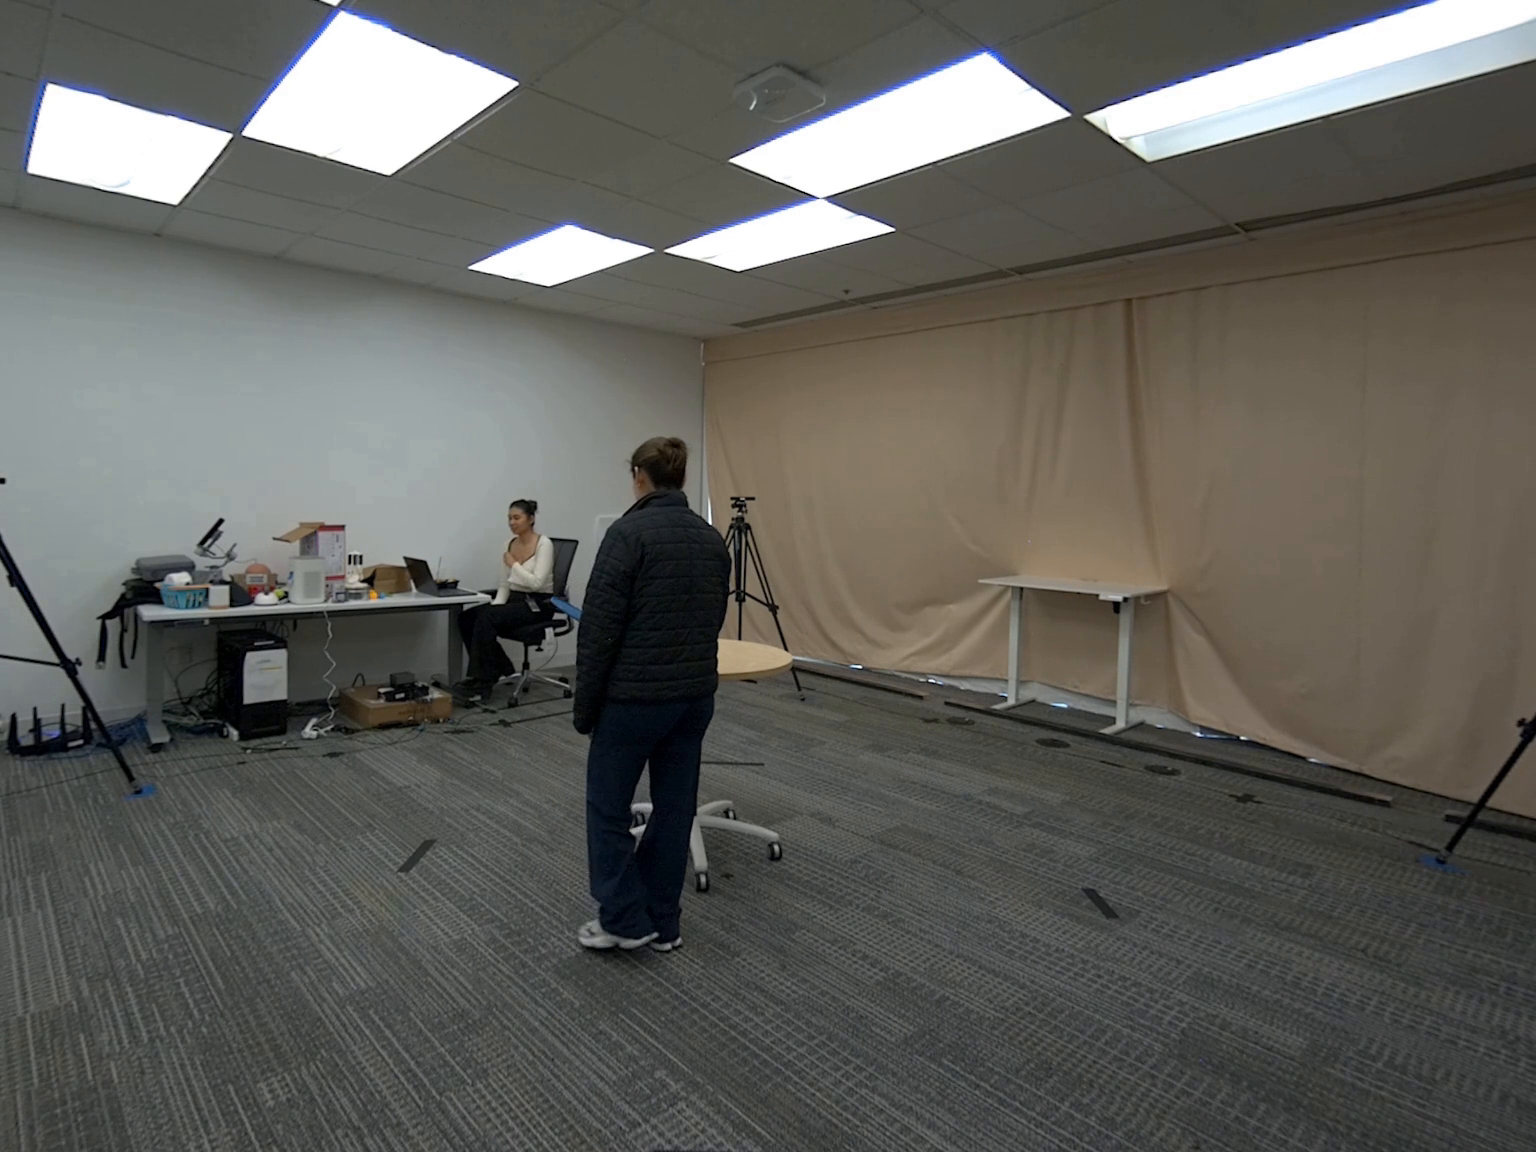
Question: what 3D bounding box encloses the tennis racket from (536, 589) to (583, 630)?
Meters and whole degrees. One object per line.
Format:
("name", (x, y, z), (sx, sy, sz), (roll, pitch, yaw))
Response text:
("tennis racket", (-0.587, 0.183, 2.894), (0.445, 0.032, 0.208), (32, 1, 31))
